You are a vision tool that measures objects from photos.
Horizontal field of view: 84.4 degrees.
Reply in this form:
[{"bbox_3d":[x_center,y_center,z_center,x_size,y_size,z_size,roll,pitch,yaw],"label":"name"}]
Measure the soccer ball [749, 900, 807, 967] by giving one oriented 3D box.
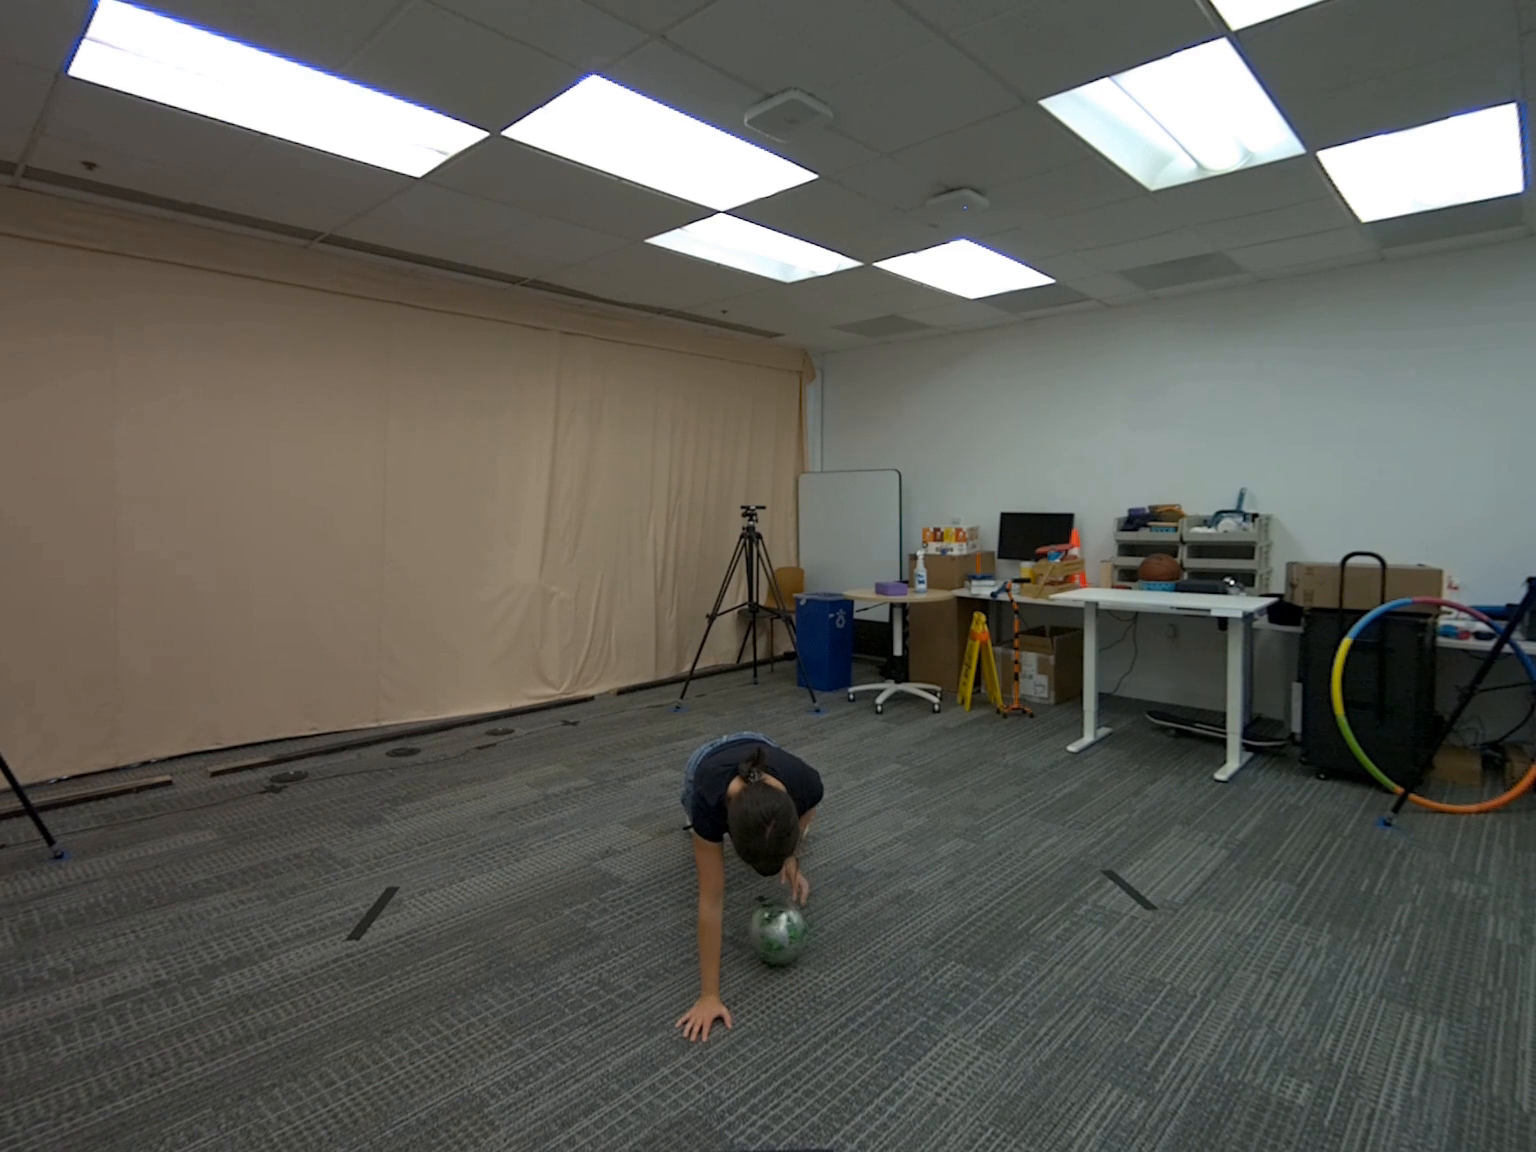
[{"bbox_3d":[0.032,1.079,2.570,0.187,0.187,0.188,0,4,-2],"label":"soccer ball"}]
